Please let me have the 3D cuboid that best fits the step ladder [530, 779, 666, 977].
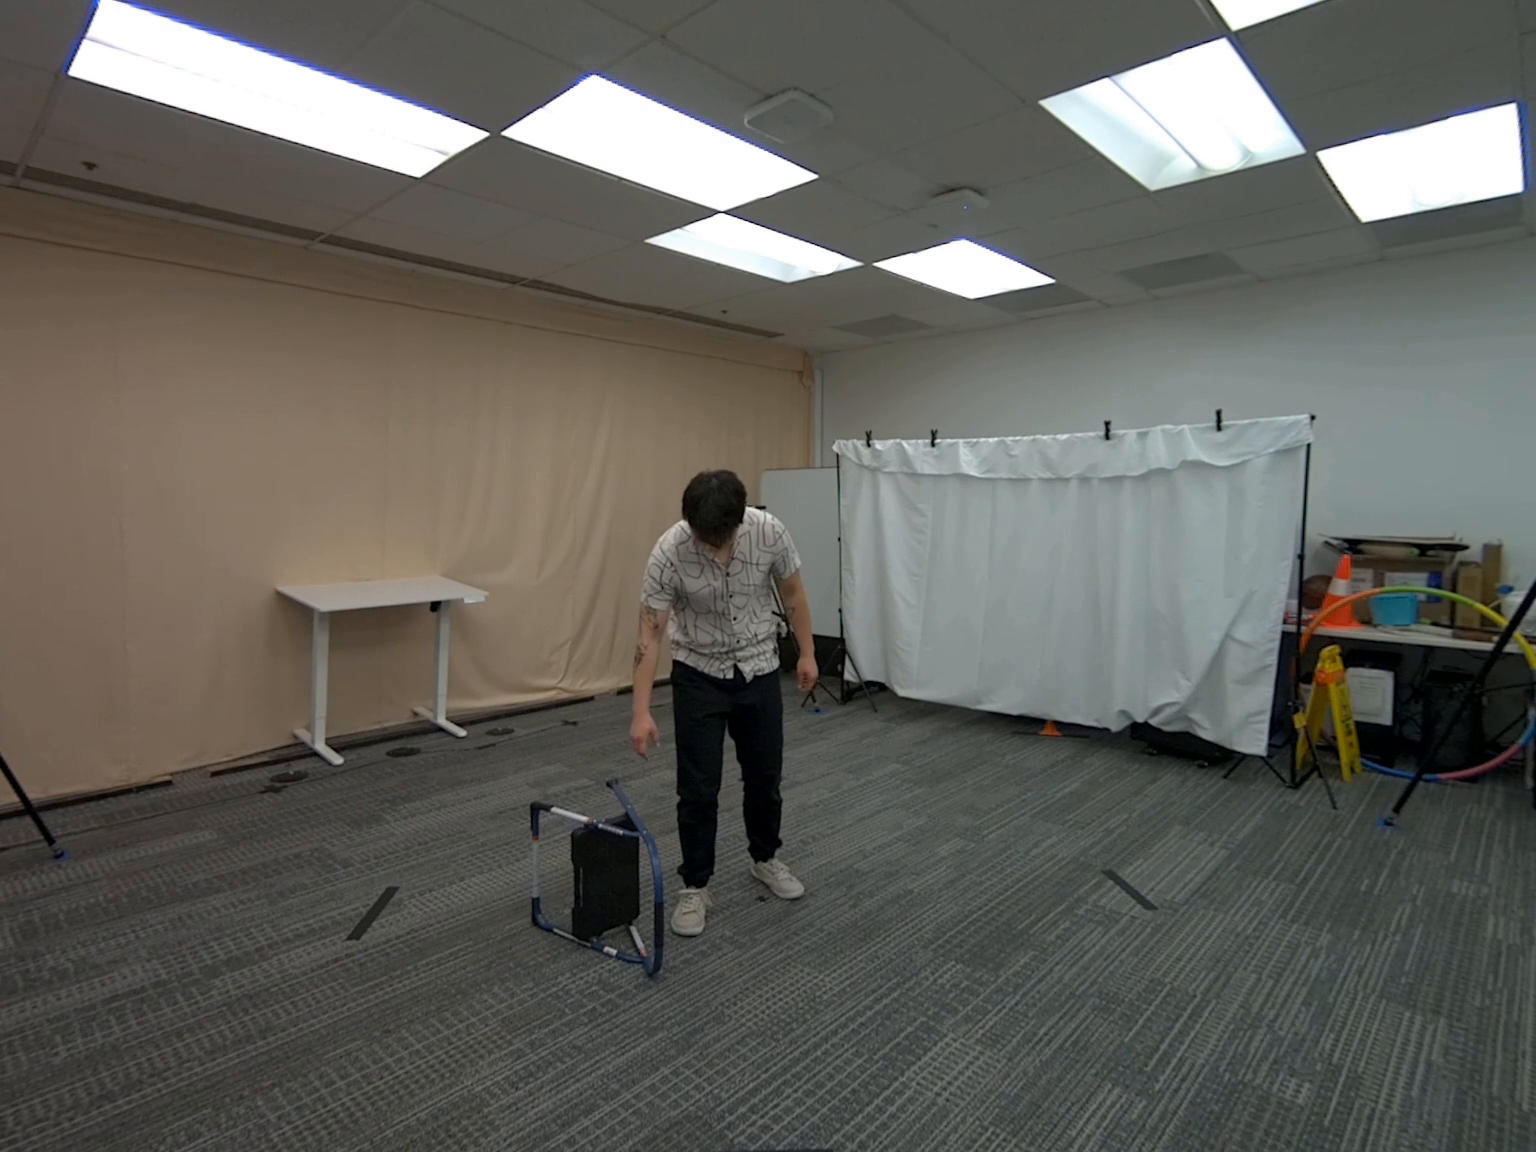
[{"bbox_3d":[-0.455,0.962,2.674,0.339,0.429,0.626,-5,6,-42],"label":"step ladder"}]
